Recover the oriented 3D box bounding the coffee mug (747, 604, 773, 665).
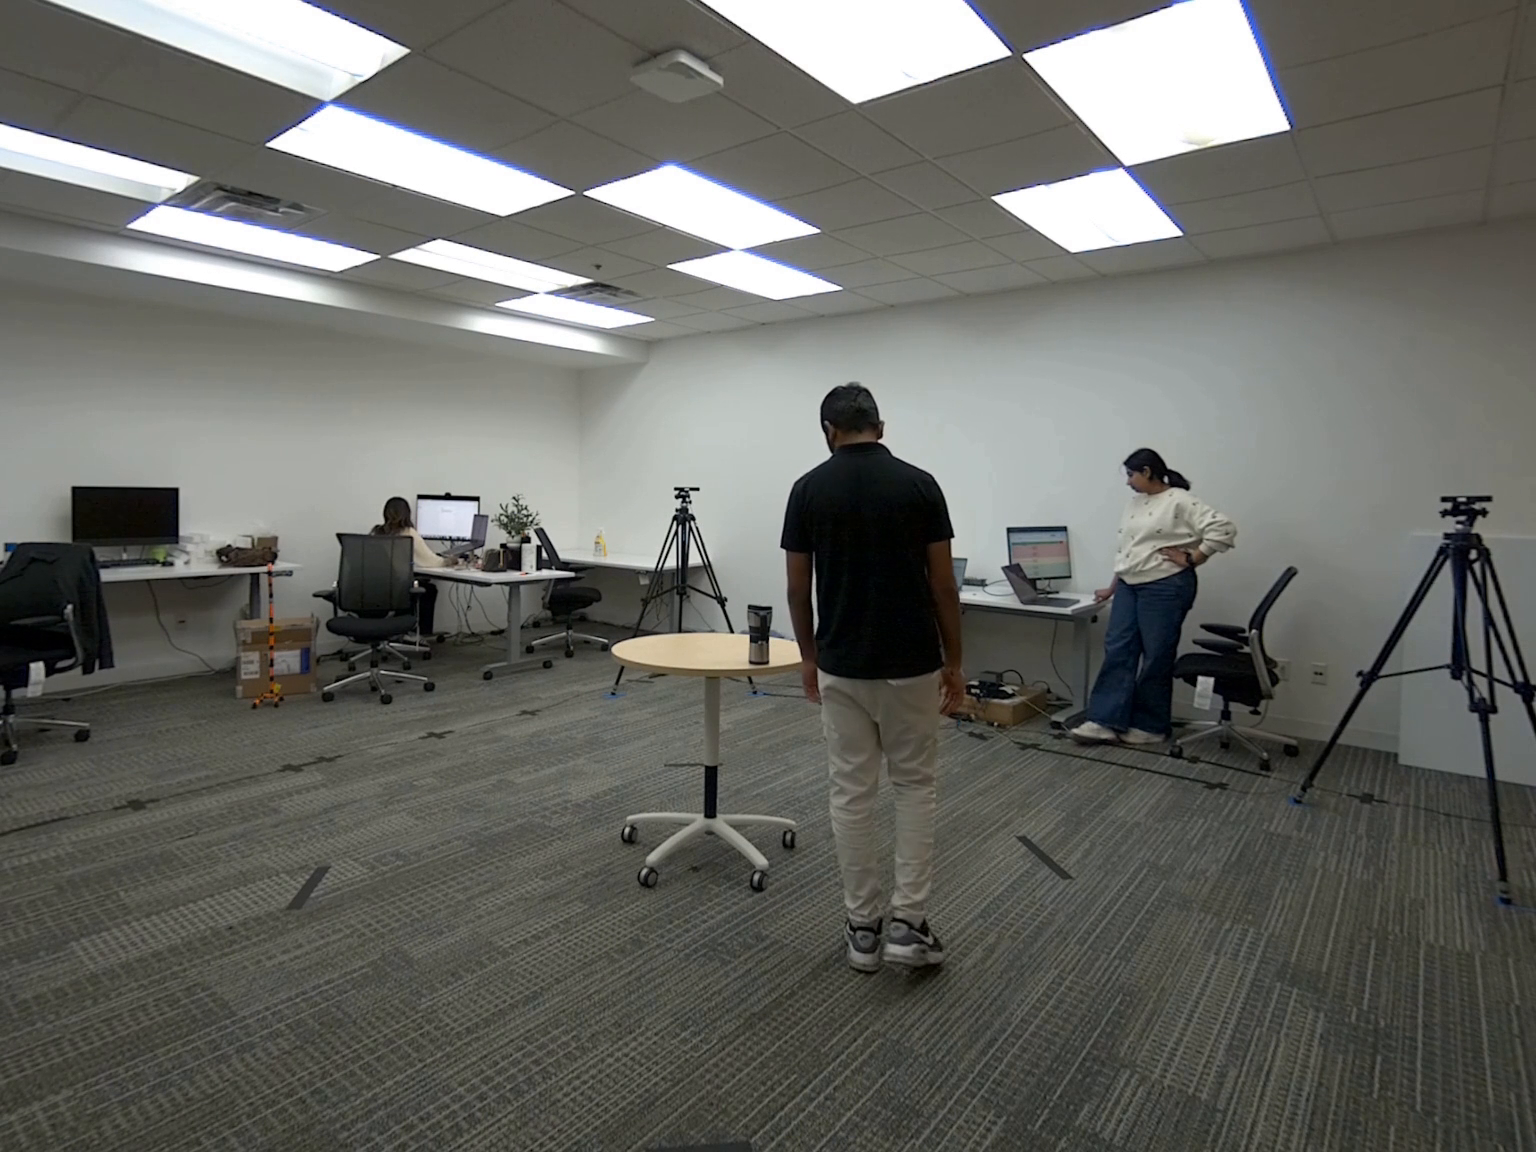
[{"bbox_3d":[-0.044,0.201,2.920,0.090,0.203,0.119,5,0,23],"label":"coffee mug"}]
